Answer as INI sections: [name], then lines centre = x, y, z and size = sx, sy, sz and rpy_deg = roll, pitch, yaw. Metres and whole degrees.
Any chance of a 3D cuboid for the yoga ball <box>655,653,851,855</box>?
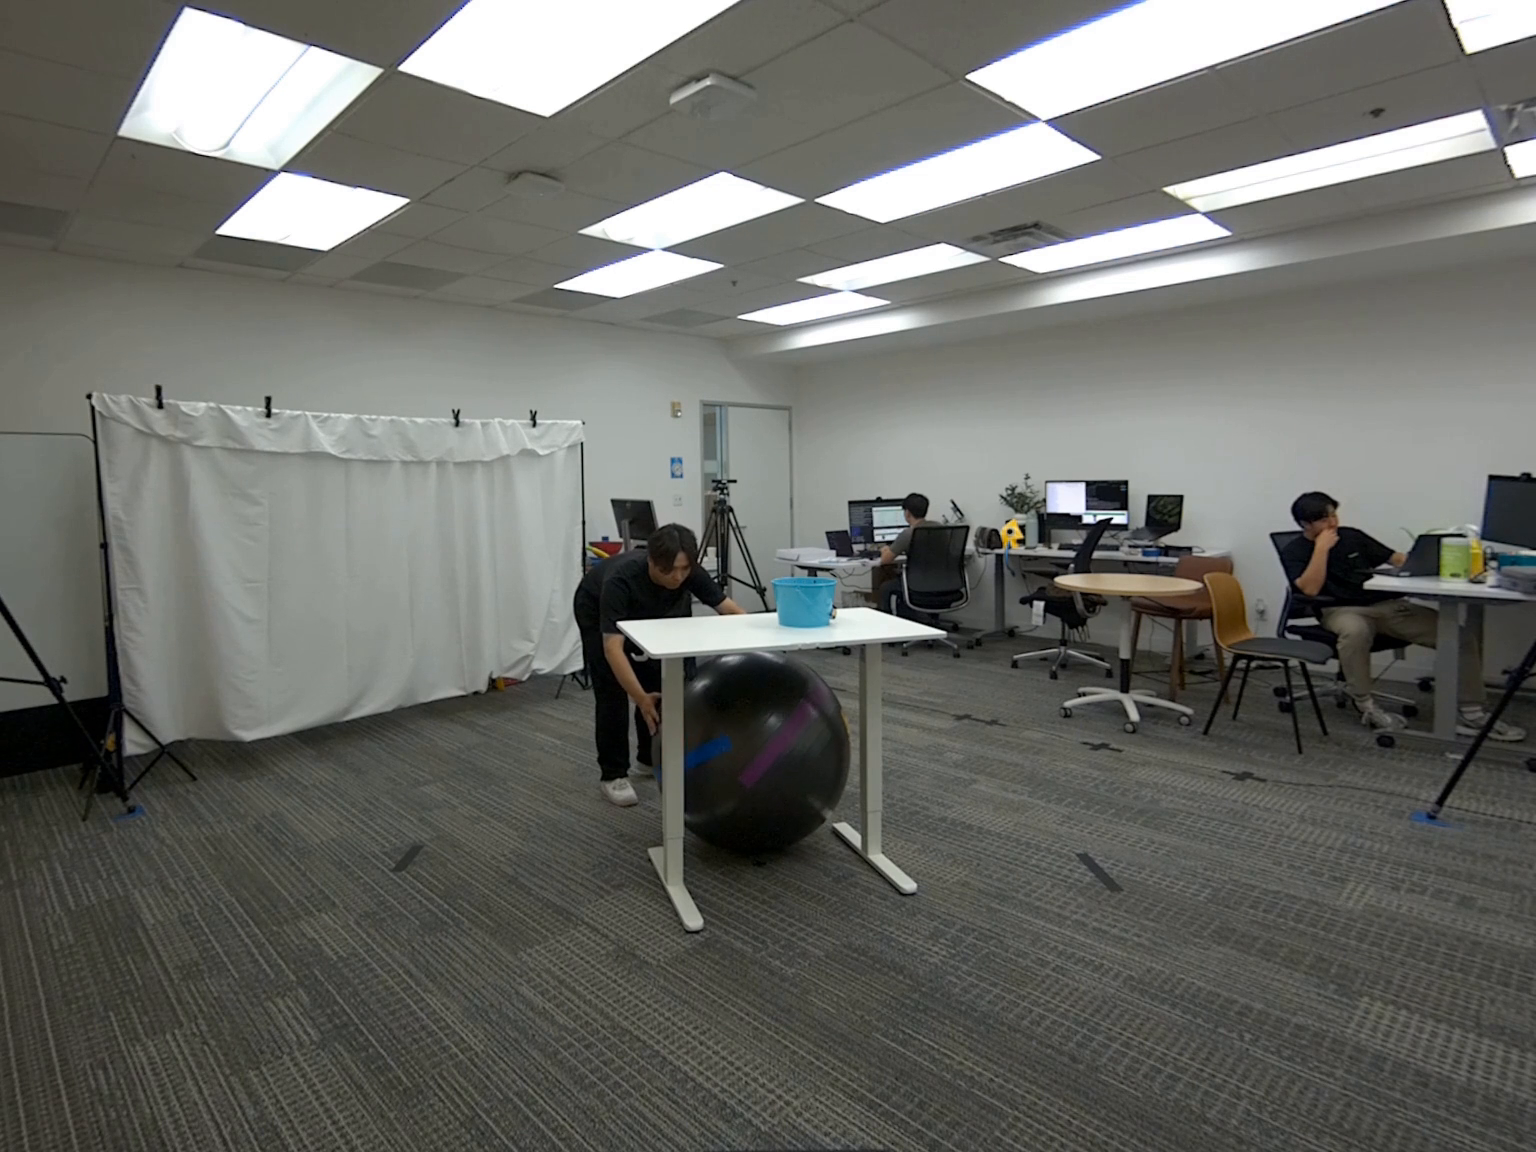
[yoga ball]
centre = -0.067, 0.665, 3.270
size = 0.757, 0.755, 0.762
rpy_deg = -1, 5, -2
